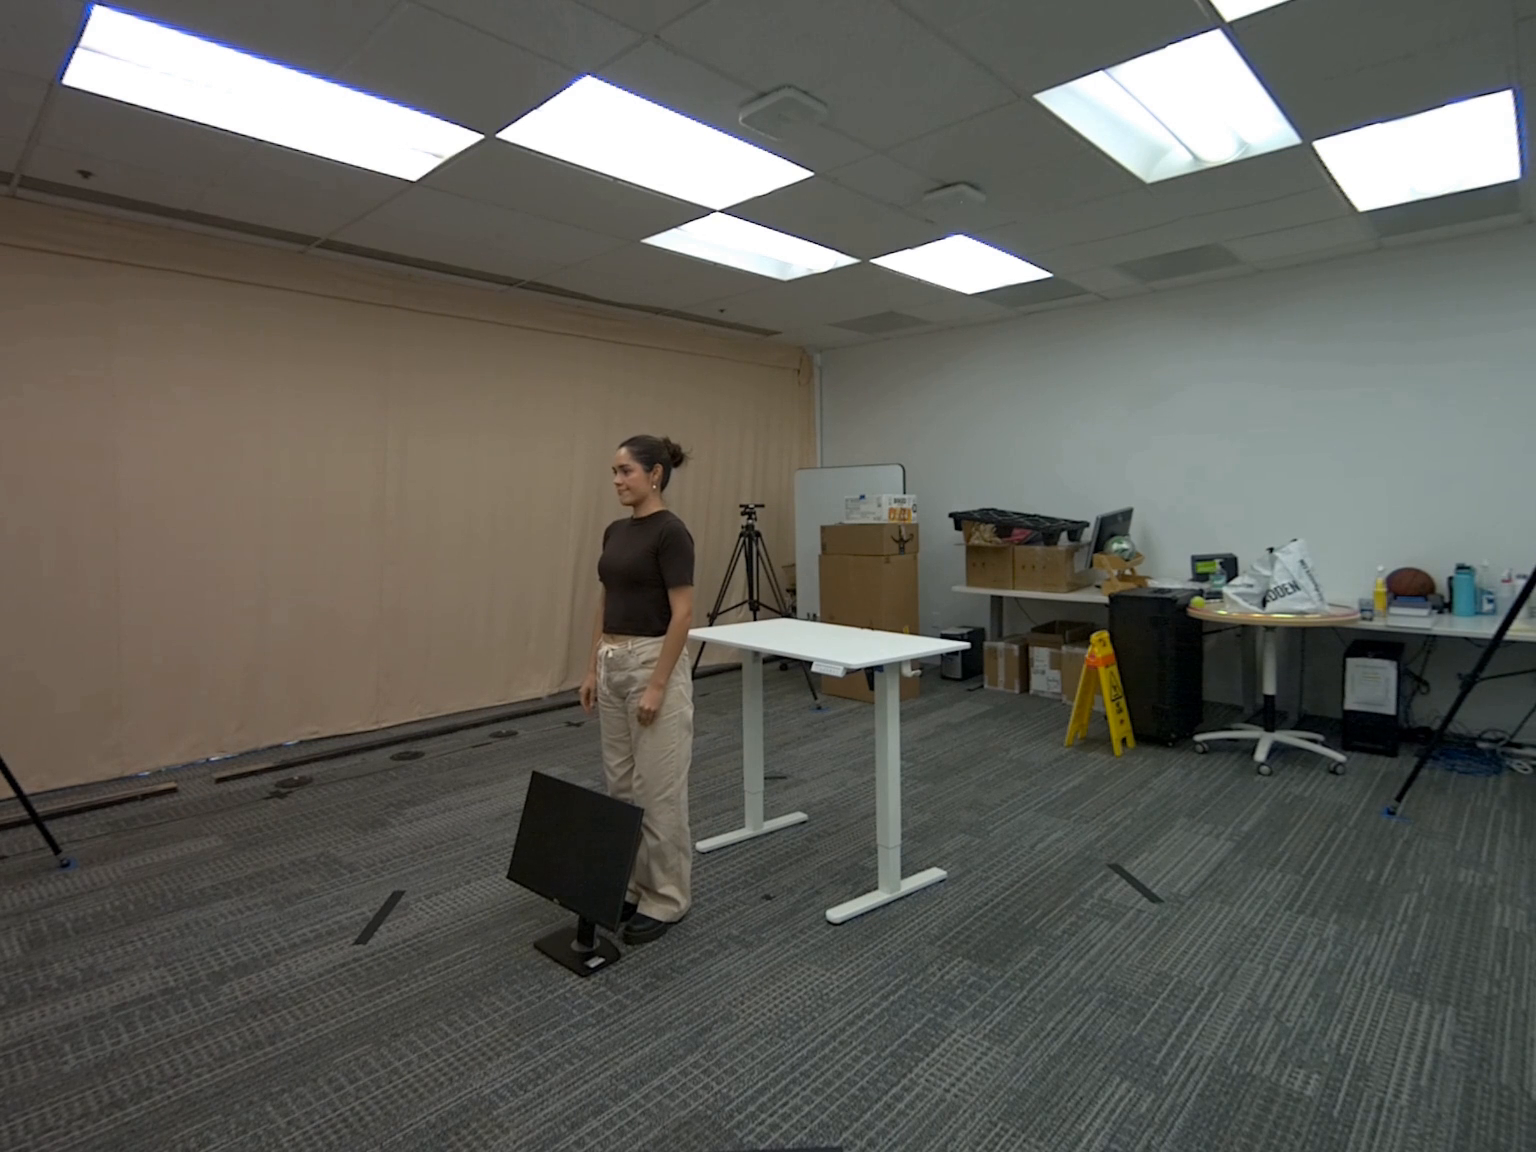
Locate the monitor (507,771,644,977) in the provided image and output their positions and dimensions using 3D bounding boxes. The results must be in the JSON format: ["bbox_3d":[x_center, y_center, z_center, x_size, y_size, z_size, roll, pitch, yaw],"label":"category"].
[{"bbox_3d":[-0.589,0.928,2.640,0.557,0.522,0.181,3,2,39],"label":"monitor"}]
